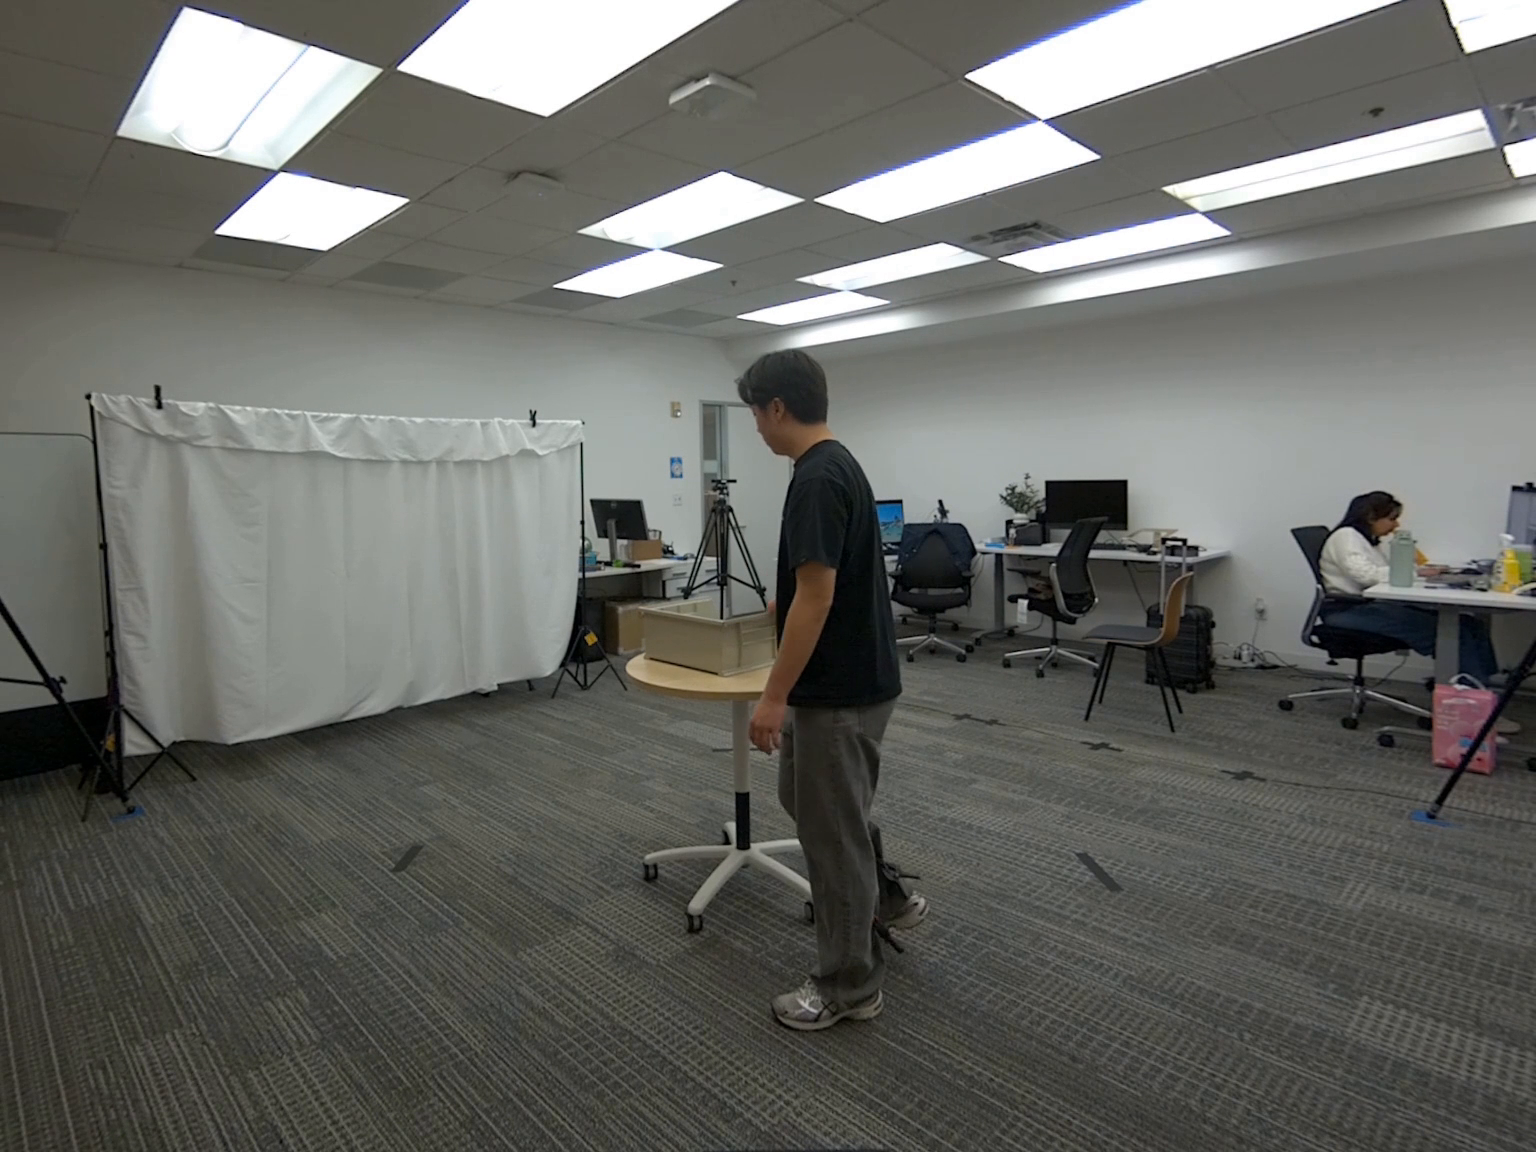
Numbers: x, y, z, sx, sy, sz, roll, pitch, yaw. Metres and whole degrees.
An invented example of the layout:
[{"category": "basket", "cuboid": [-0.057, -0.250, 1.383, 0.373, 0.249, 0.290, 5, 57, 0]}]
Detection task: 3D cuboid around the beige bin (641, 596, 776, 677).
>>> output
[{"category": "beige bin", "cuboid": [-0.162, 0.197, 2.939, 0.368, 0.188, 0.435, -10, 11, -44]}]
